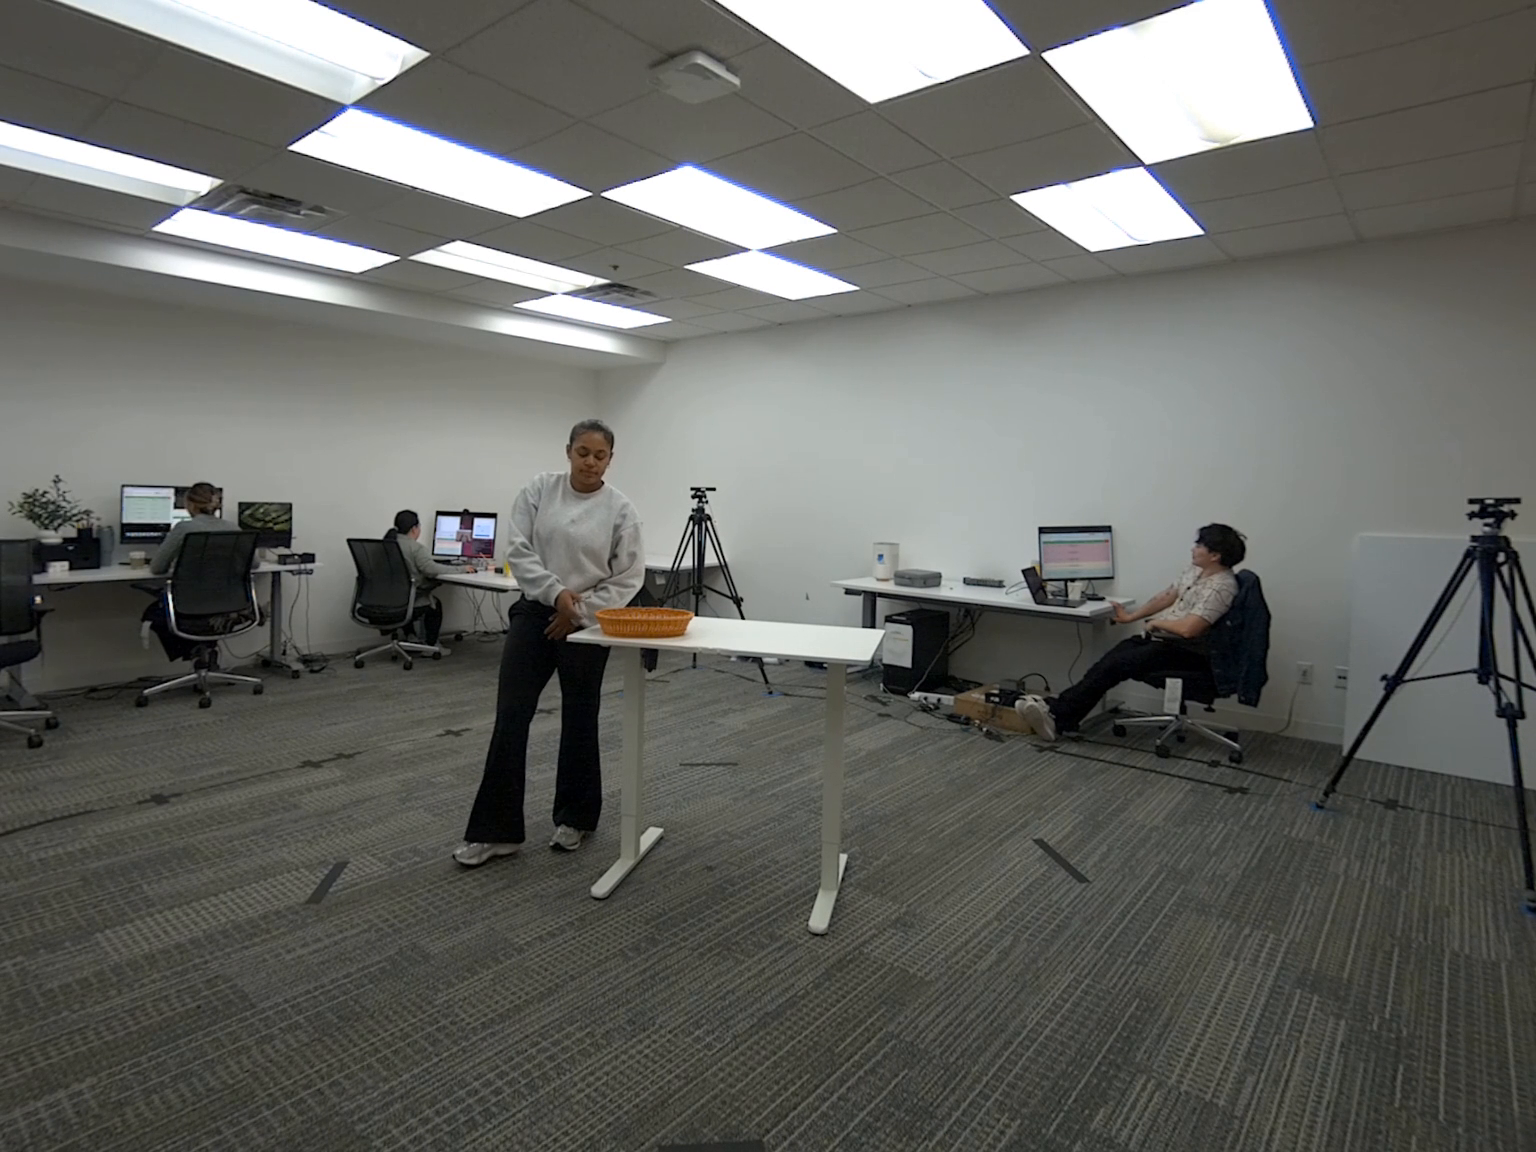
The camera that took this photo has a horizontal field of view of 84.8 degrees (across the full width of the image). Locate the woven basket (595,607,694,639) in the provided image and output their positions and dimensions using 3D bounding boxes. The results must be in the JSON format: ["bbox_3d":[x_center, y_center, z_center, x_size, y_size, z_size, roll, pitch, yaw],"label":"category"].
[{"bbox_3d":[-0.450,0.160,2.950,0.350,0.073,0.254,1,5,-3],"label":"woven basket"}]
